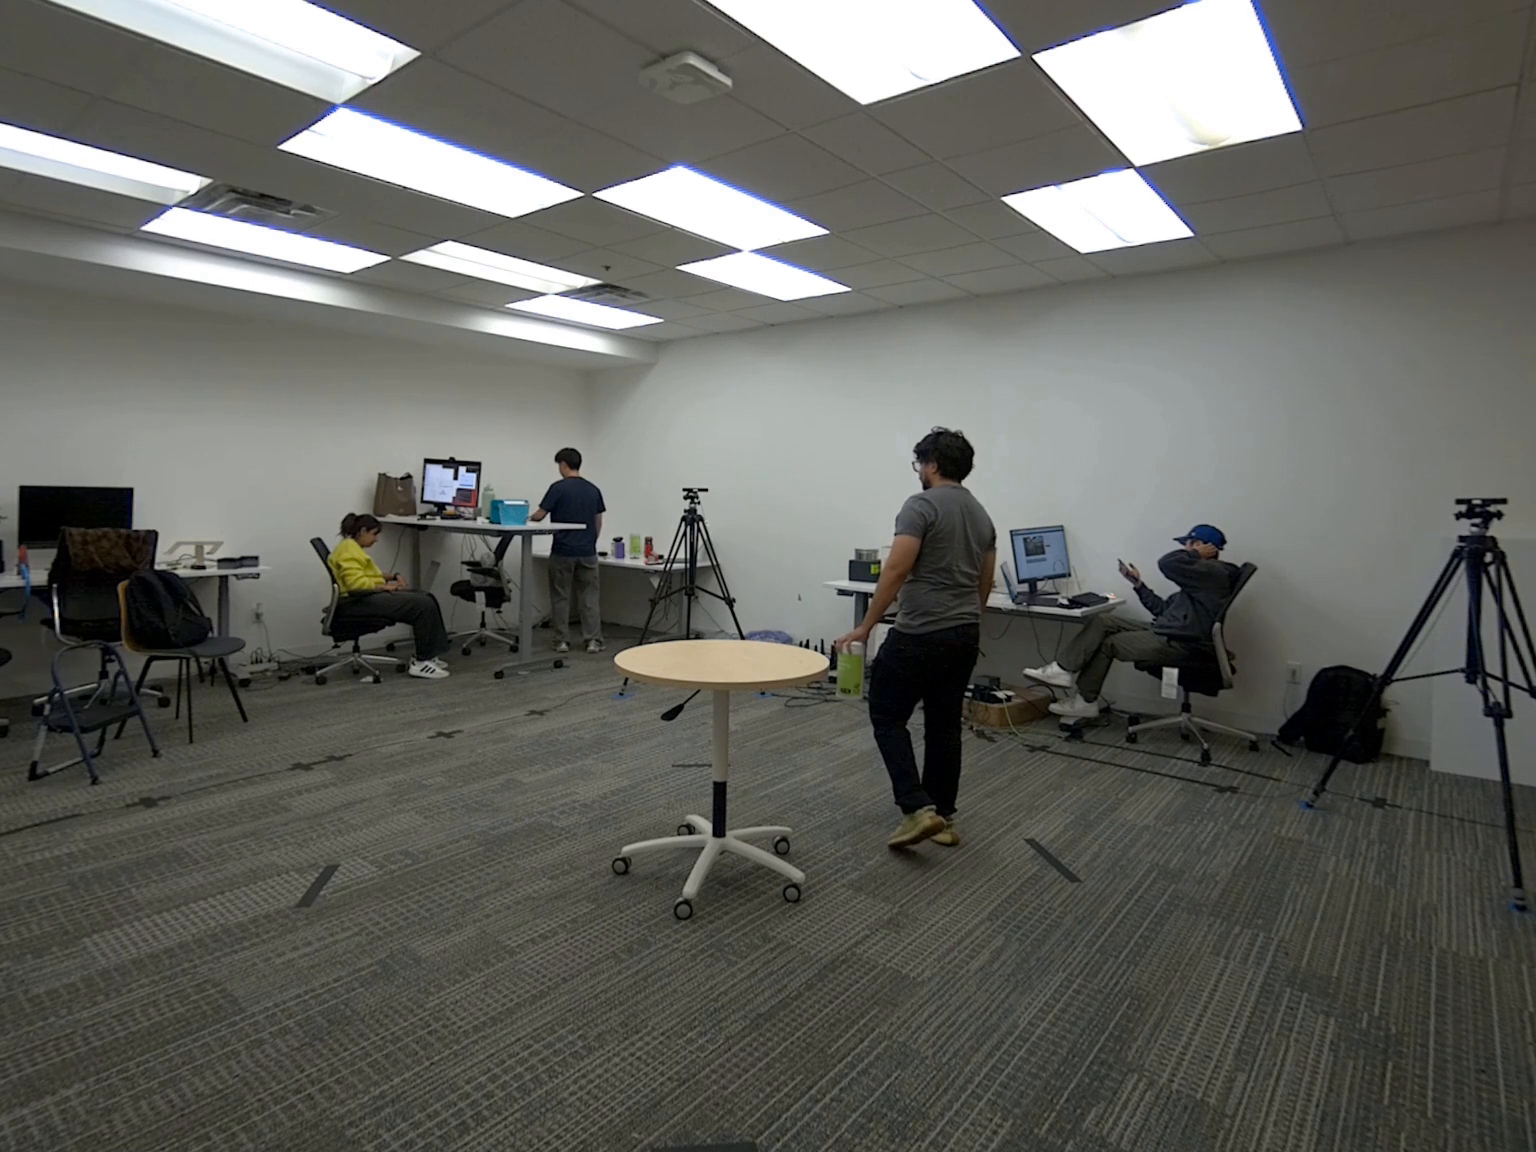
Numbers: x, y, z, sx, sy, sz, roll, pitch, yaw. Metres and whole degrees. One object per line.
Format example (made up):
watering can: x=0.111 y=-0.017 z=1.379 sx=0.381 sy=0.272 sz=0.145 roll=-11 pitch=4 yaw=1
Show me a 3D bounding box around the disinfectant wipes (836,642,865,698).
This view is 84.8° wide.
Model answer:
disinfectant wipes: x=0.318 y=0.378 z=3.370 sx=0.118 sy=0.216 sz=0.119 roll=1 pitch=7 yaw=-2
